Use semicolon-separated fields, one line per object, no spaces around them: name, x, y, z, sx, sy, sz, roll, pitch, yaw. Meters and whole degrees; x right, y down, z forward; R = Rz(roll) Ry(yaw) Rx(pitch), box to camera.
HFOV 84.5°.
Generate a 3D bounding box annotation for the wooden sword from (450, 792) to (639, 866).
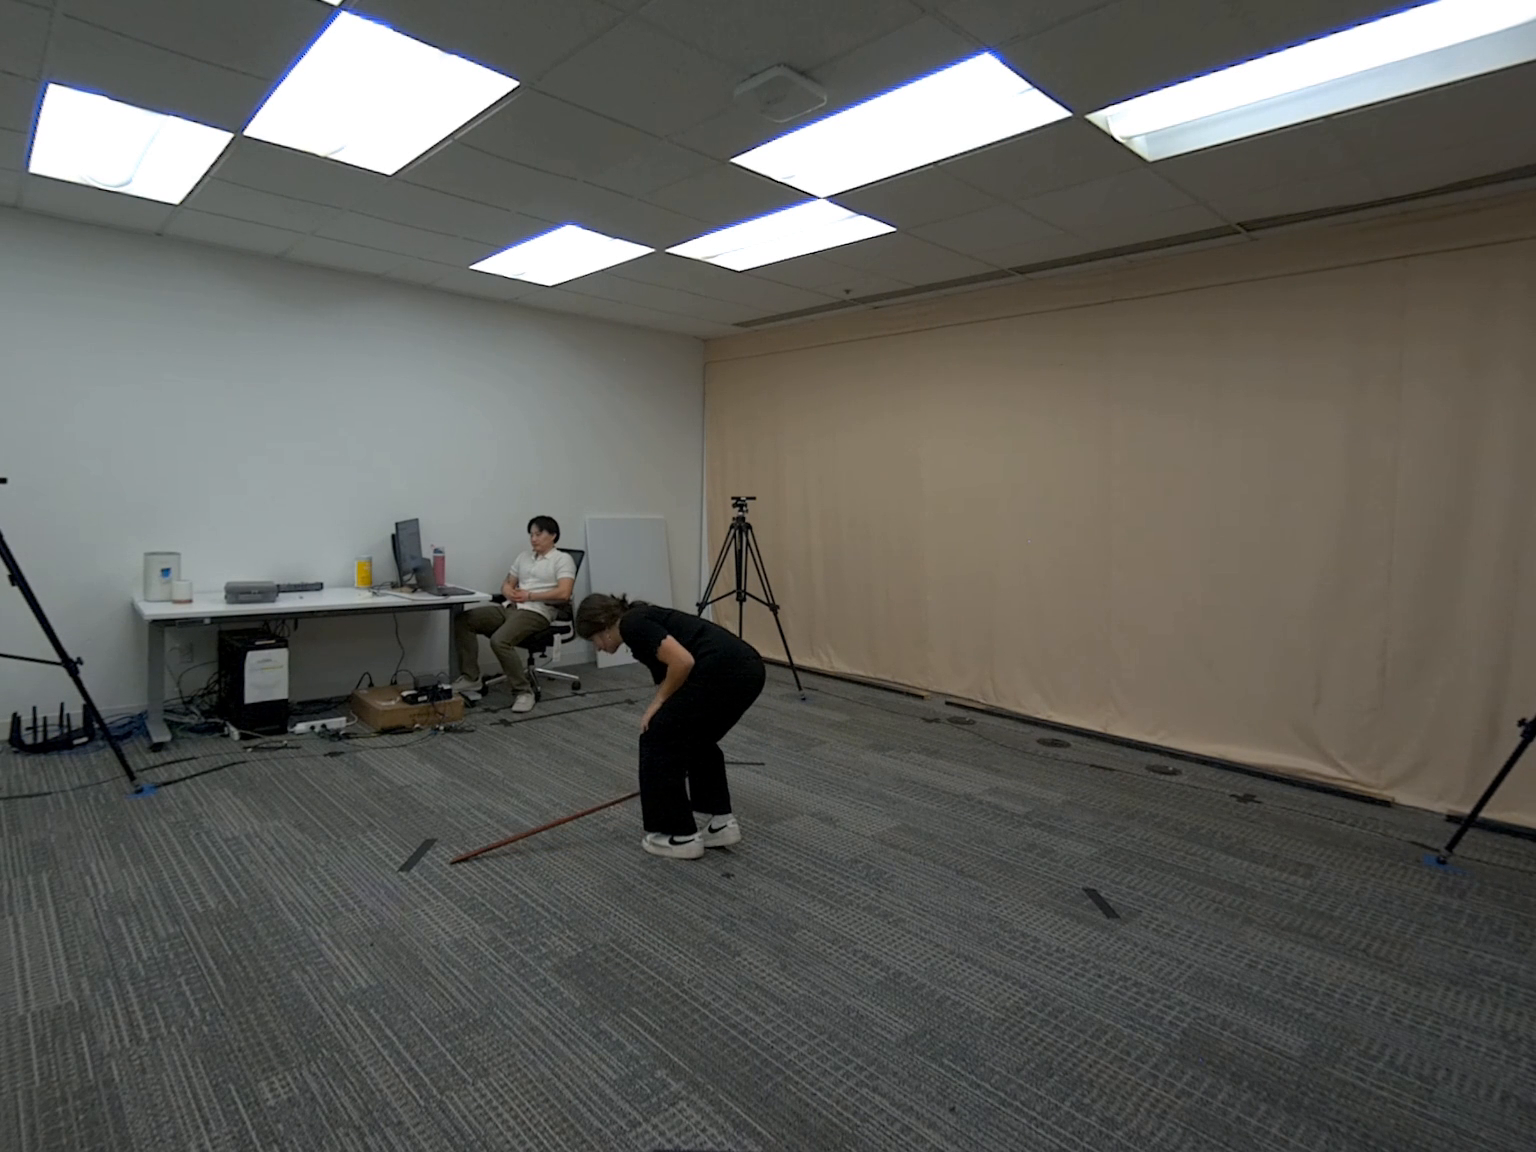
wooden sword;-0.754;0.962;3.355;1.010;0.024;0.051;-13;-20;-25
